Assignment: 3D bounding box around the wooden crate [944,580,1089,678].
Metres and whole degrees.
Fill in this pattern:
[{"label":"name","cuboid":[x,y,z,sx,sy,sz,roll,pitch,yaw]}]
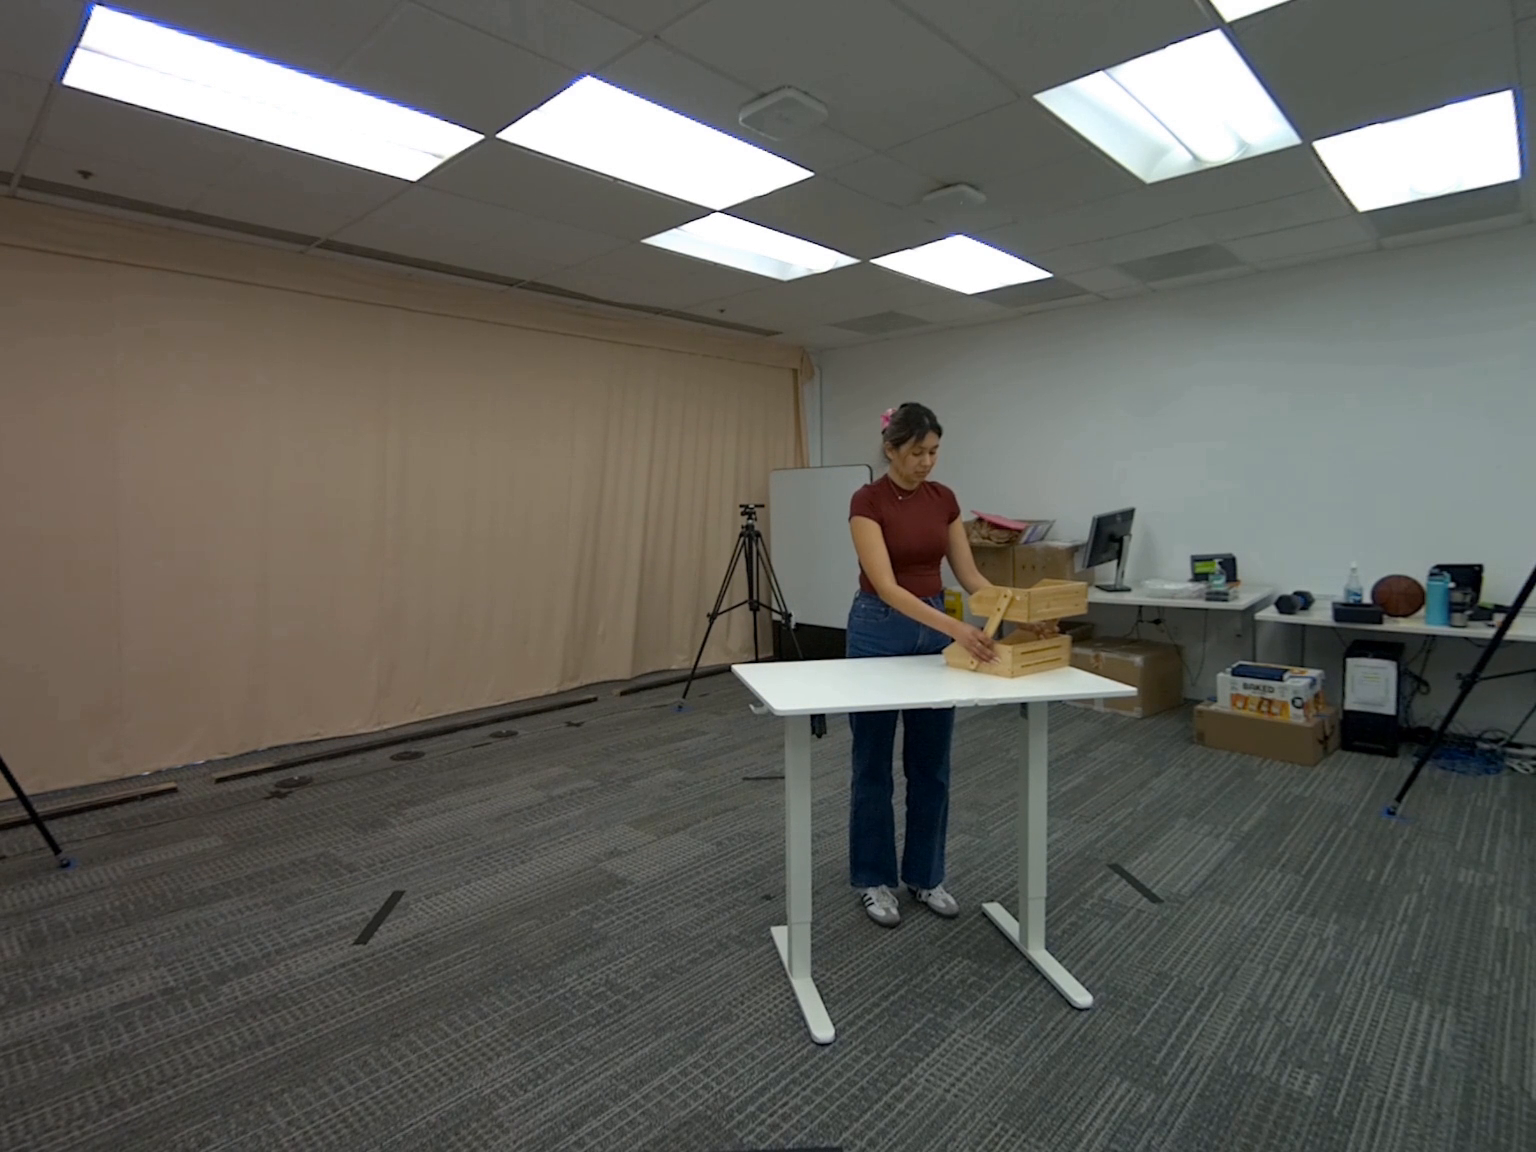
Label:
[{"label":"wooden crate","cuboid":[0.761,0.147,2.571,0.315,0.272,0.312,-4,7,-37]}]
